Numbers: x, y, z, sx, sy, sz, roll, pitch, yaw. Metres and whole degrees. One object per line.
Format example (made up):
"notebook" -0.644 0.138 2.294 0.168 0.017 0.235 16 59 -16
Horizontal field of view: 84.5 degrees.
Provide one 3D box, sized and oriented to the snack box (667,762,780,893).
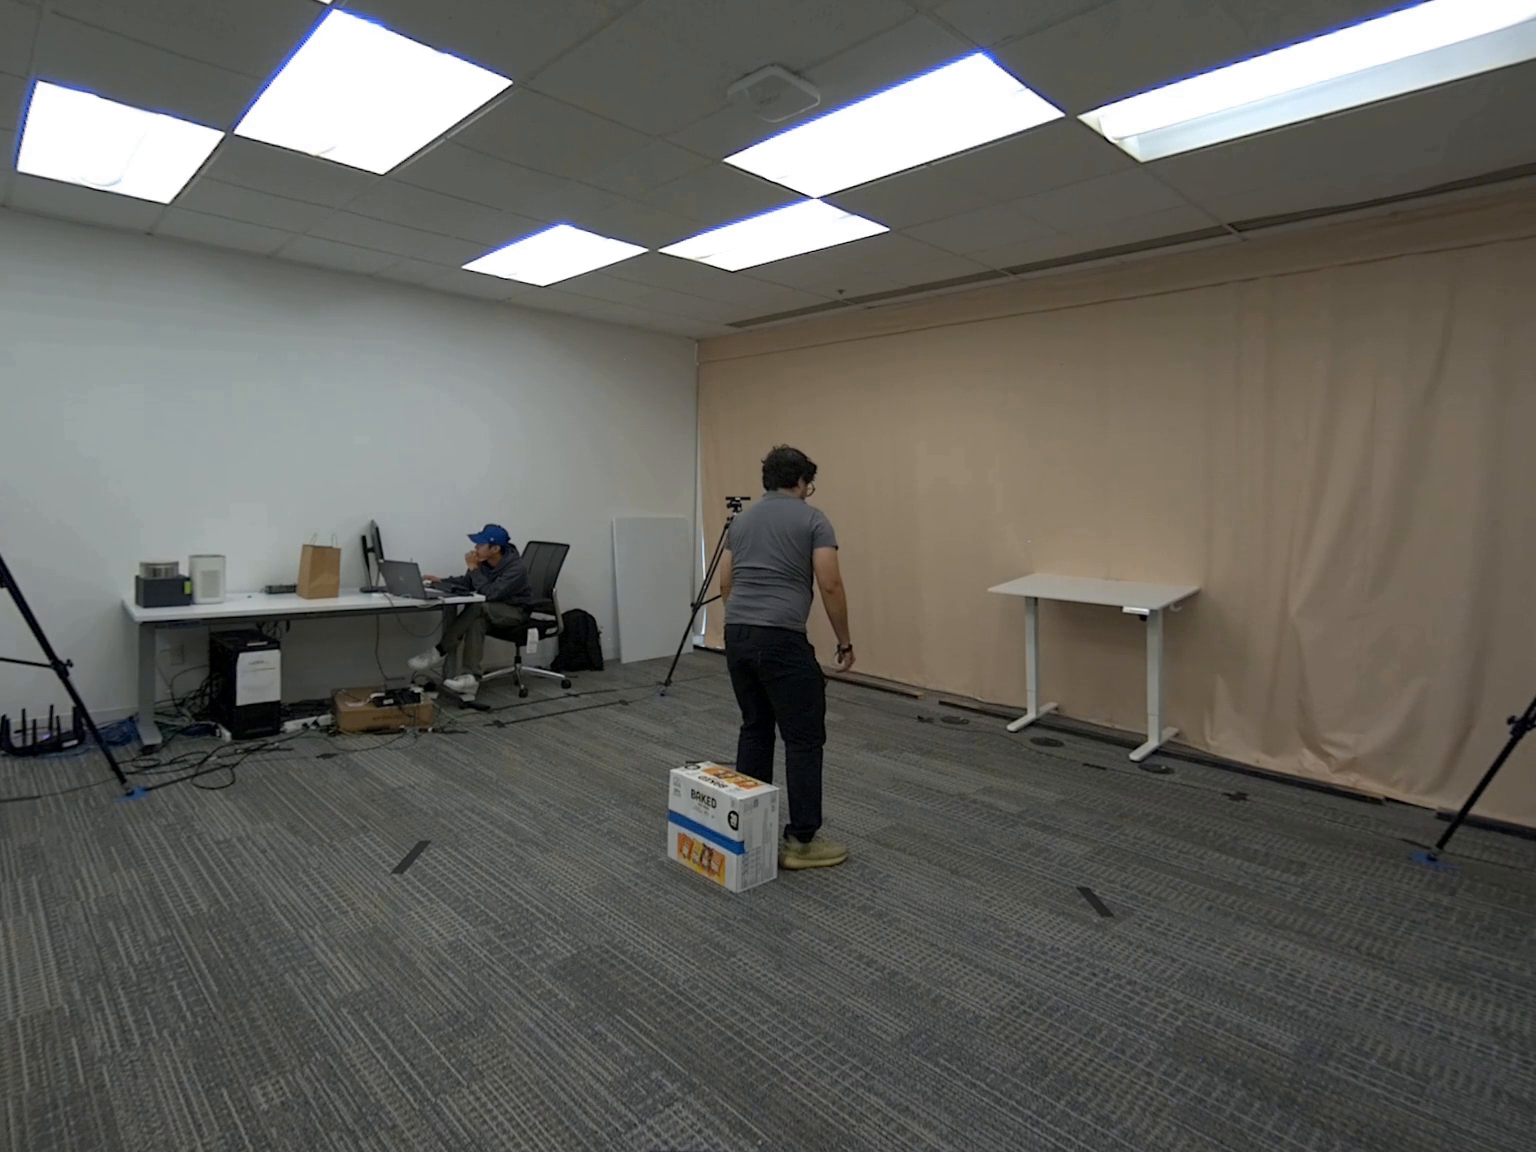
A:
"snack box" -0.180 0.932 3.164 0.201 0.339 0.415 -1 5 -43
